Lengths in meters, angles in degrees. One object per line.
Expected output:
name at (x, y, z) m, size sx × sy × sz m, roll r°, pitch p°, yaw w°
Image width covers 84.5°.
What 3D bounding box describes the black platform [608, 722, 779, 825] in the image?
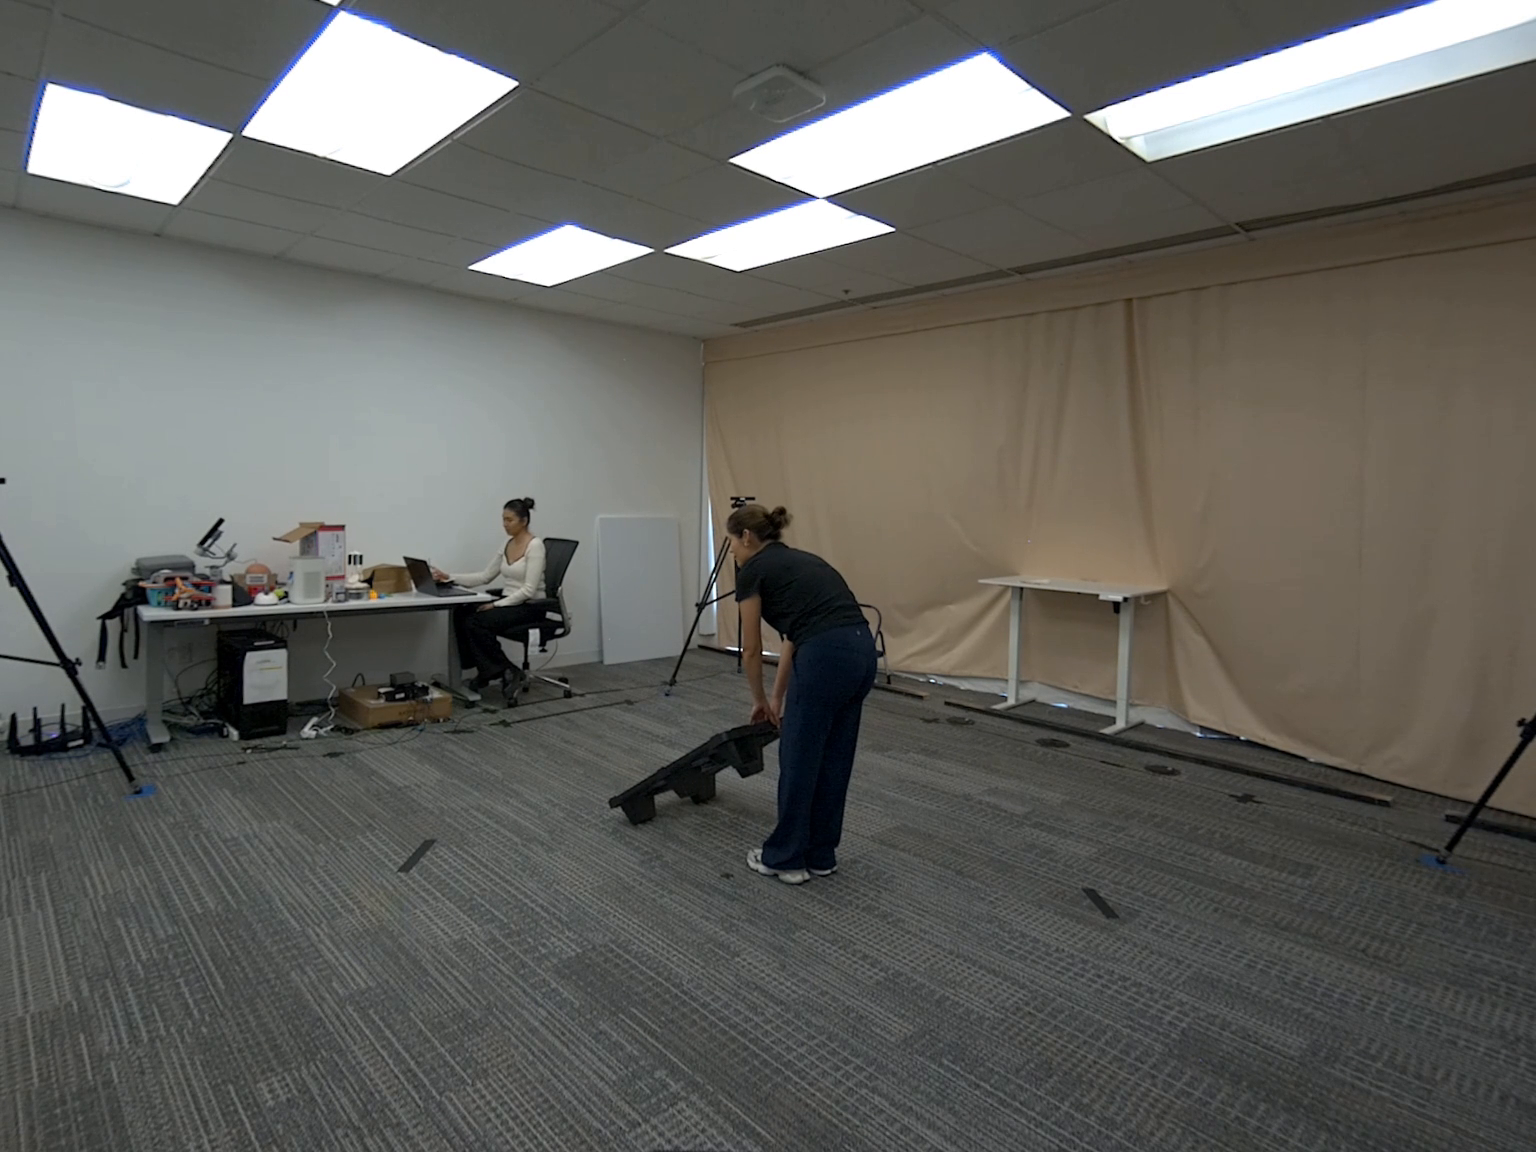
black platform at (-0.217, 0.813, 3.519) m, size 0.592 × 0.146 × 0.809 m, roll -5°, pitch -26°, yaw -49°
